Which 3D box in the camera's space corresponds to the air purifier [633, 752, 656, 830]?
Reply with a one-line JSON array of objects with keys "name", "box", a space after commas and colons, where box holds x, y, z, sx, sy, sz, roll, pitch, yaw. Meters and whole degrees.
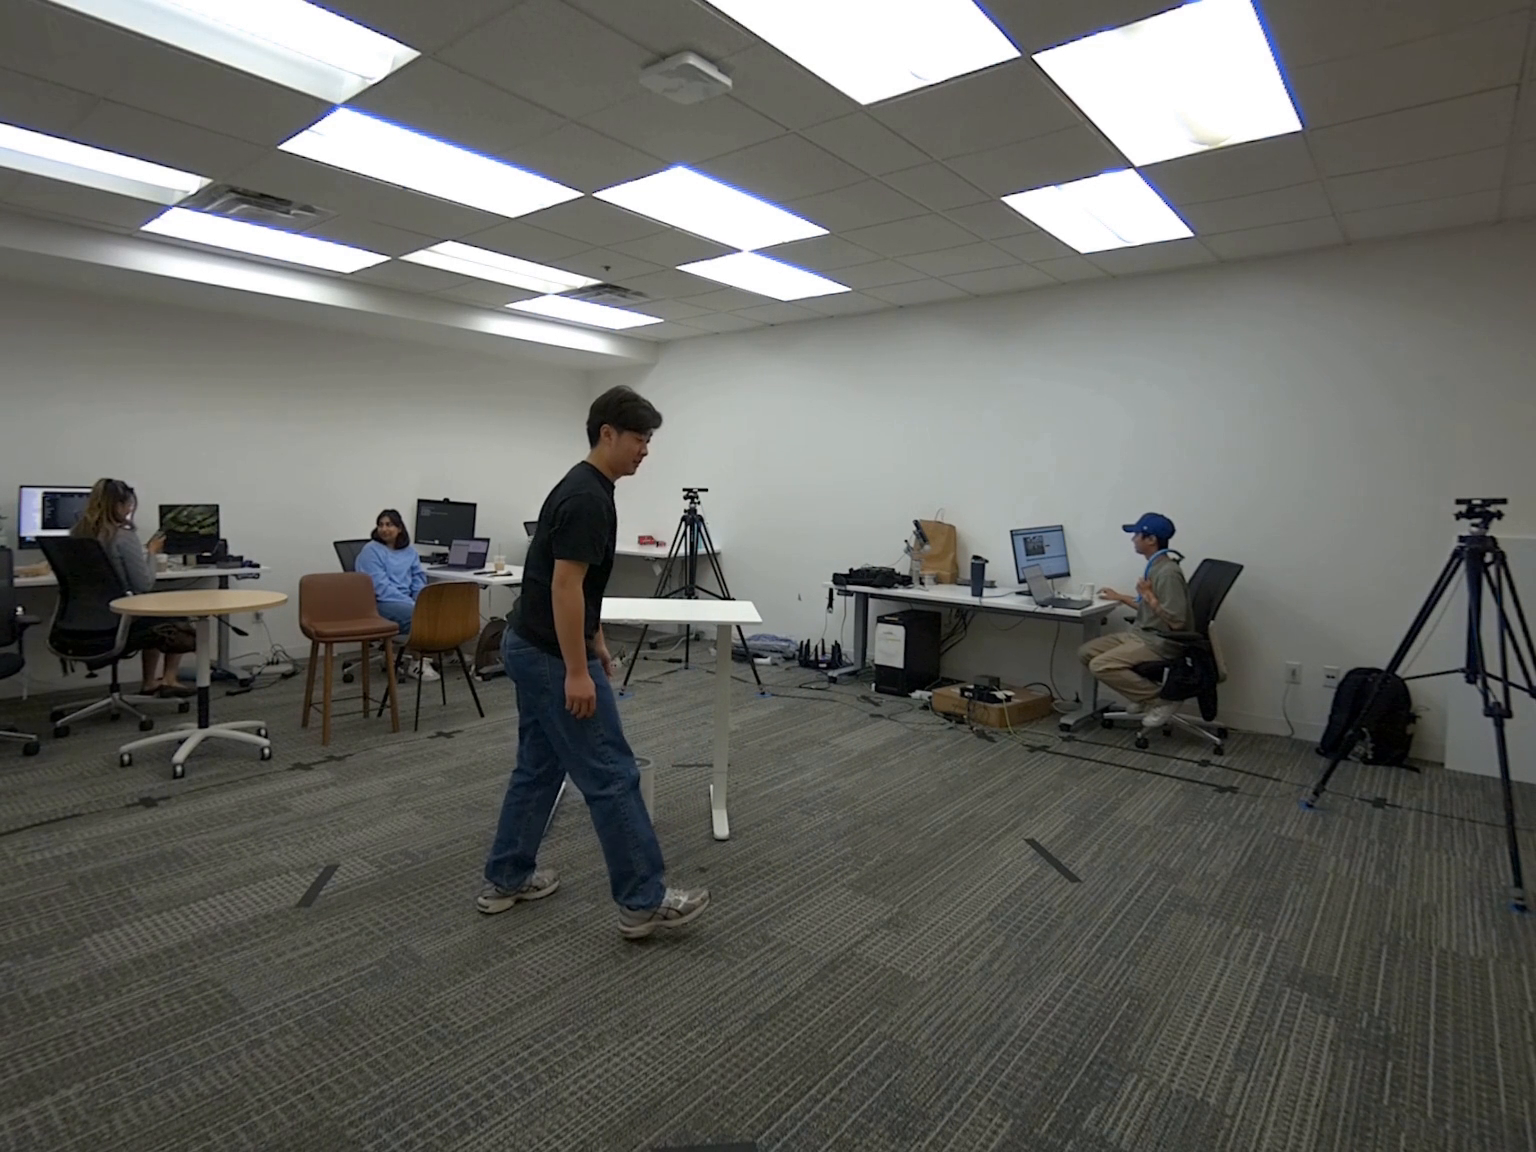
[{"name": "air purifier", "box": [-0.562, 0.888, 3.488, 0.170, 0.265, 0.173, 0, 3, -9]}]
